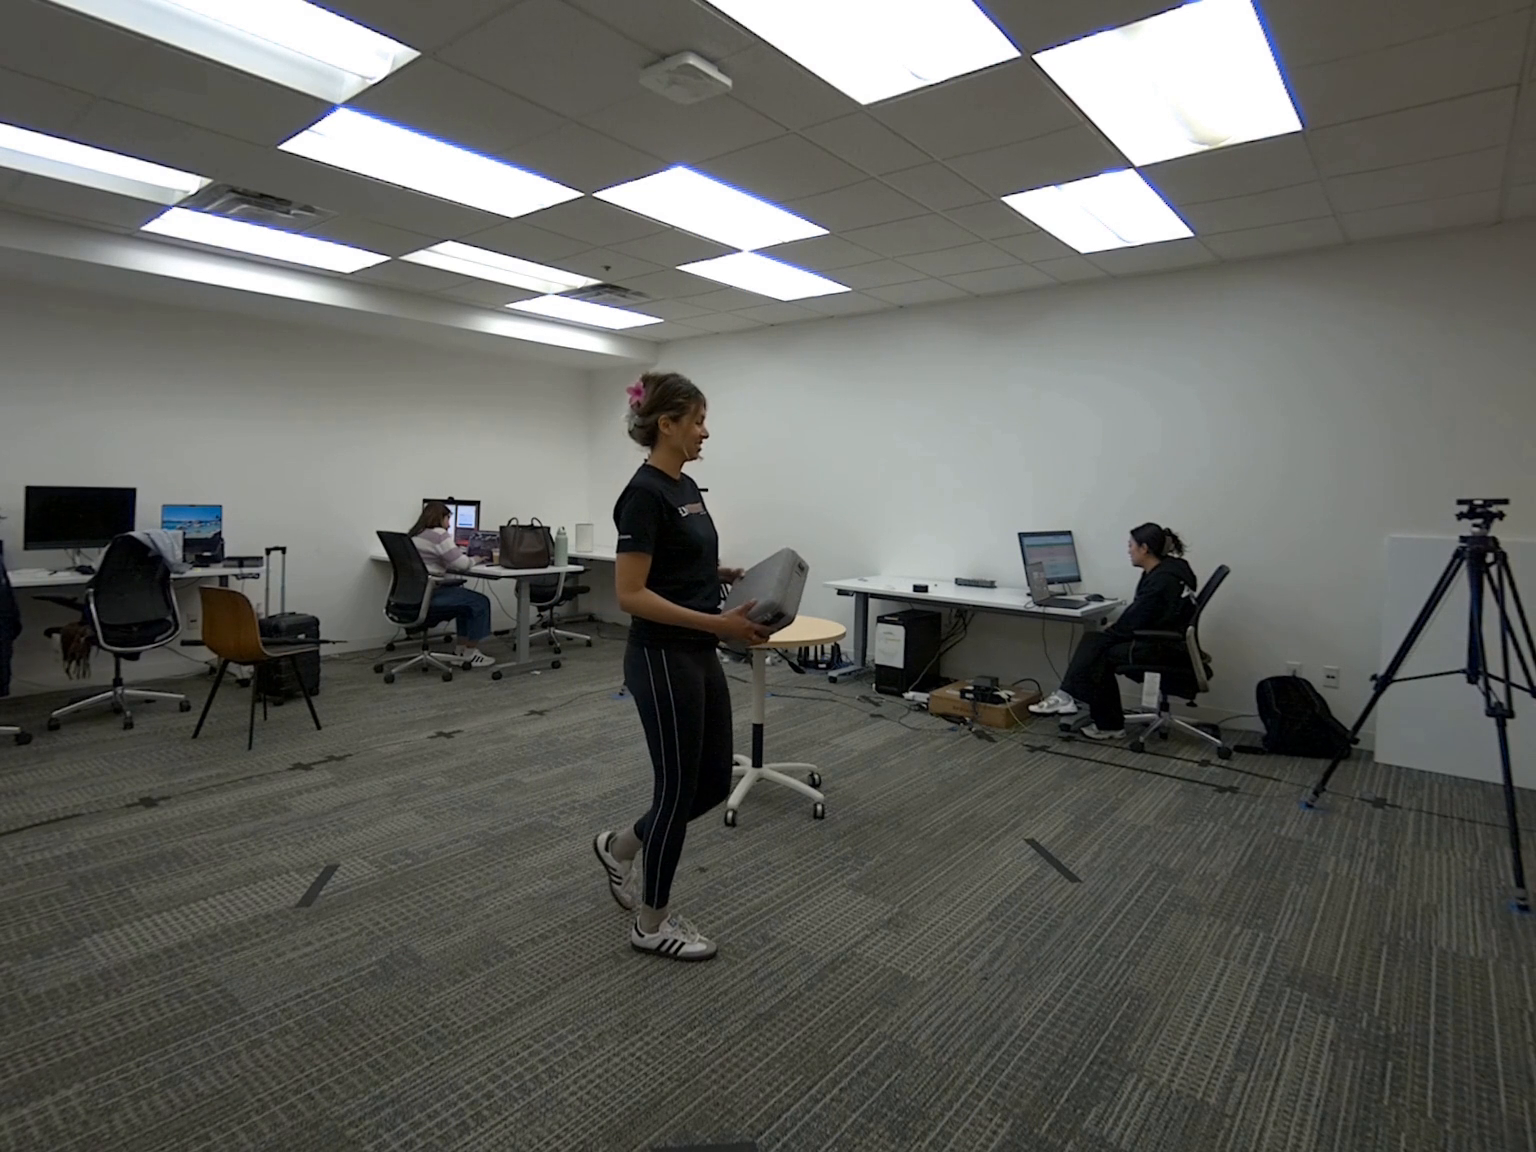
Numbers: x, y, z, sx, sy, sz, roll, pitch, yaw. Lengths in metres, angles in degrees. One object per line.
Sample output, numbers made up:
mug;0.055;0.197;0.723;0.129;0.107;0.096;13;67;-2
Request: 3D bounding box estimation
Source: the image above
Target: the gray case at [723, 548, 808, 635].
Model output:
gray case;-0.026;0.064;2.442;0.102;0.264;0.259;41;-50;-19
